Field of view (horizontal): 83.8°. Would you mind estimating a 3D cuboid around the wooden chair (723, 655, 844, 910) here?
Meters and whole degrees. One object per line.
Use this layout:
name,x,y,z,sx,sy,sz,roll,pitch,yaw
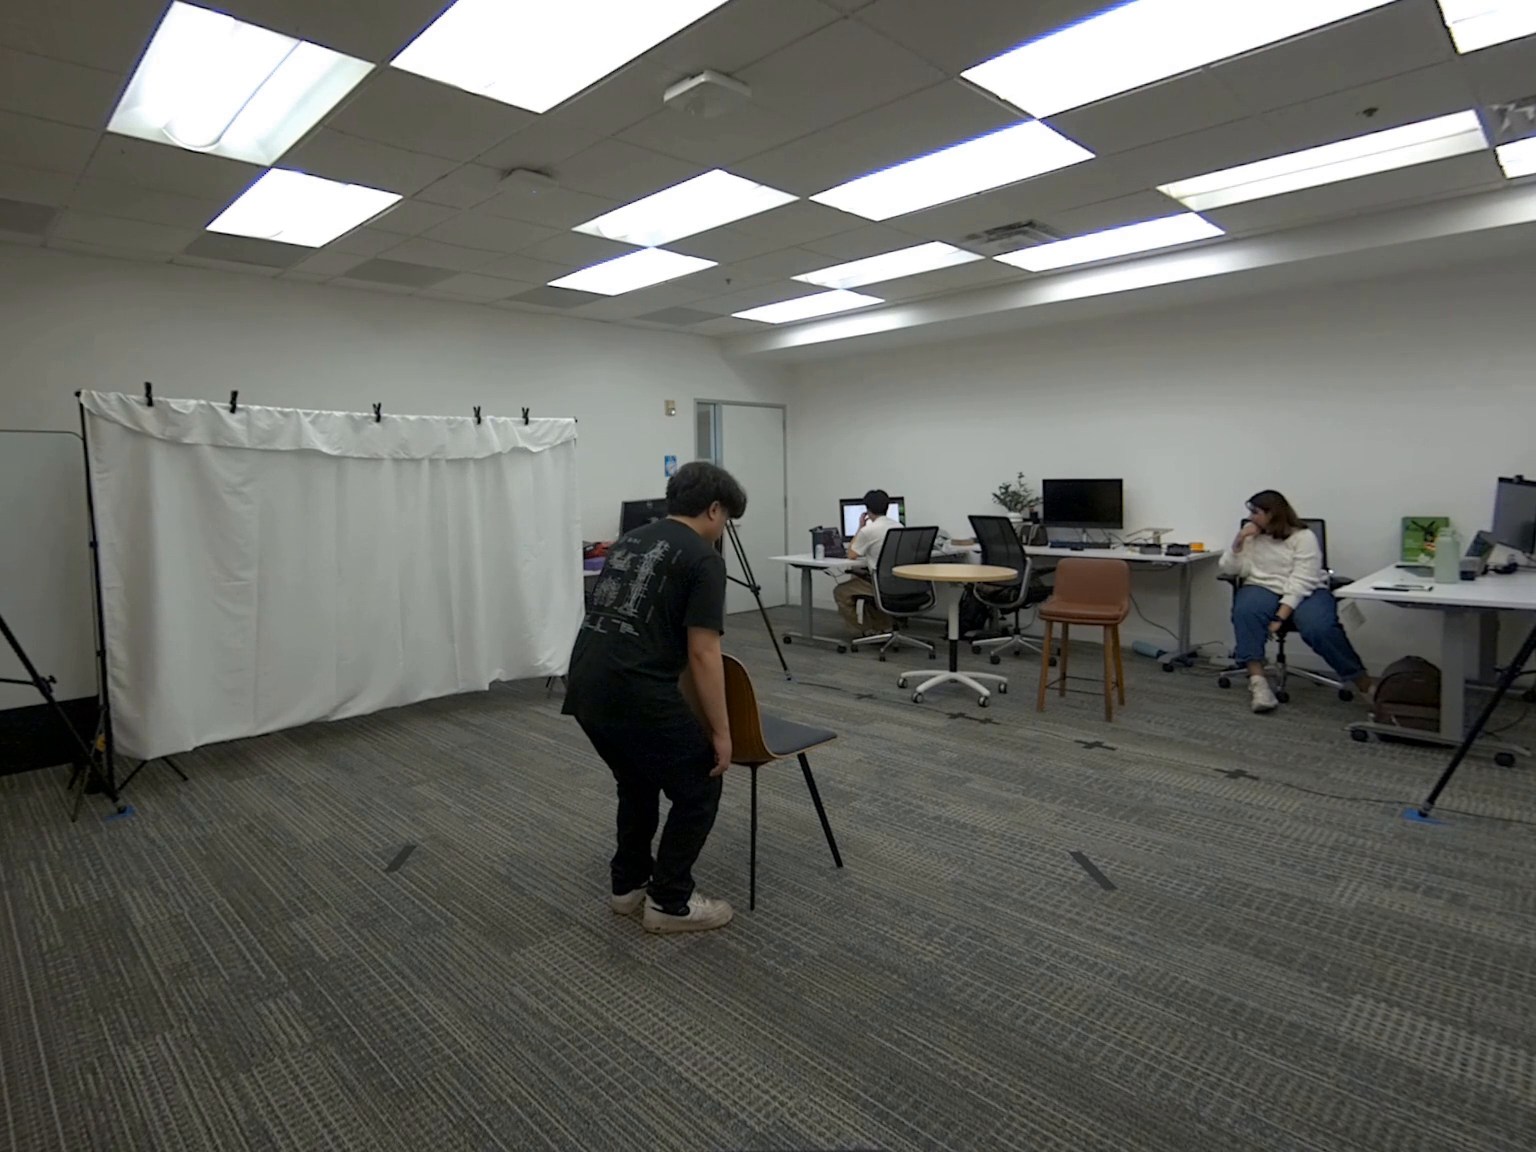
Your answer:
wooden chair,-0.049,0.622,3.052,0.511,0.871,0.493,-11,10,-43
